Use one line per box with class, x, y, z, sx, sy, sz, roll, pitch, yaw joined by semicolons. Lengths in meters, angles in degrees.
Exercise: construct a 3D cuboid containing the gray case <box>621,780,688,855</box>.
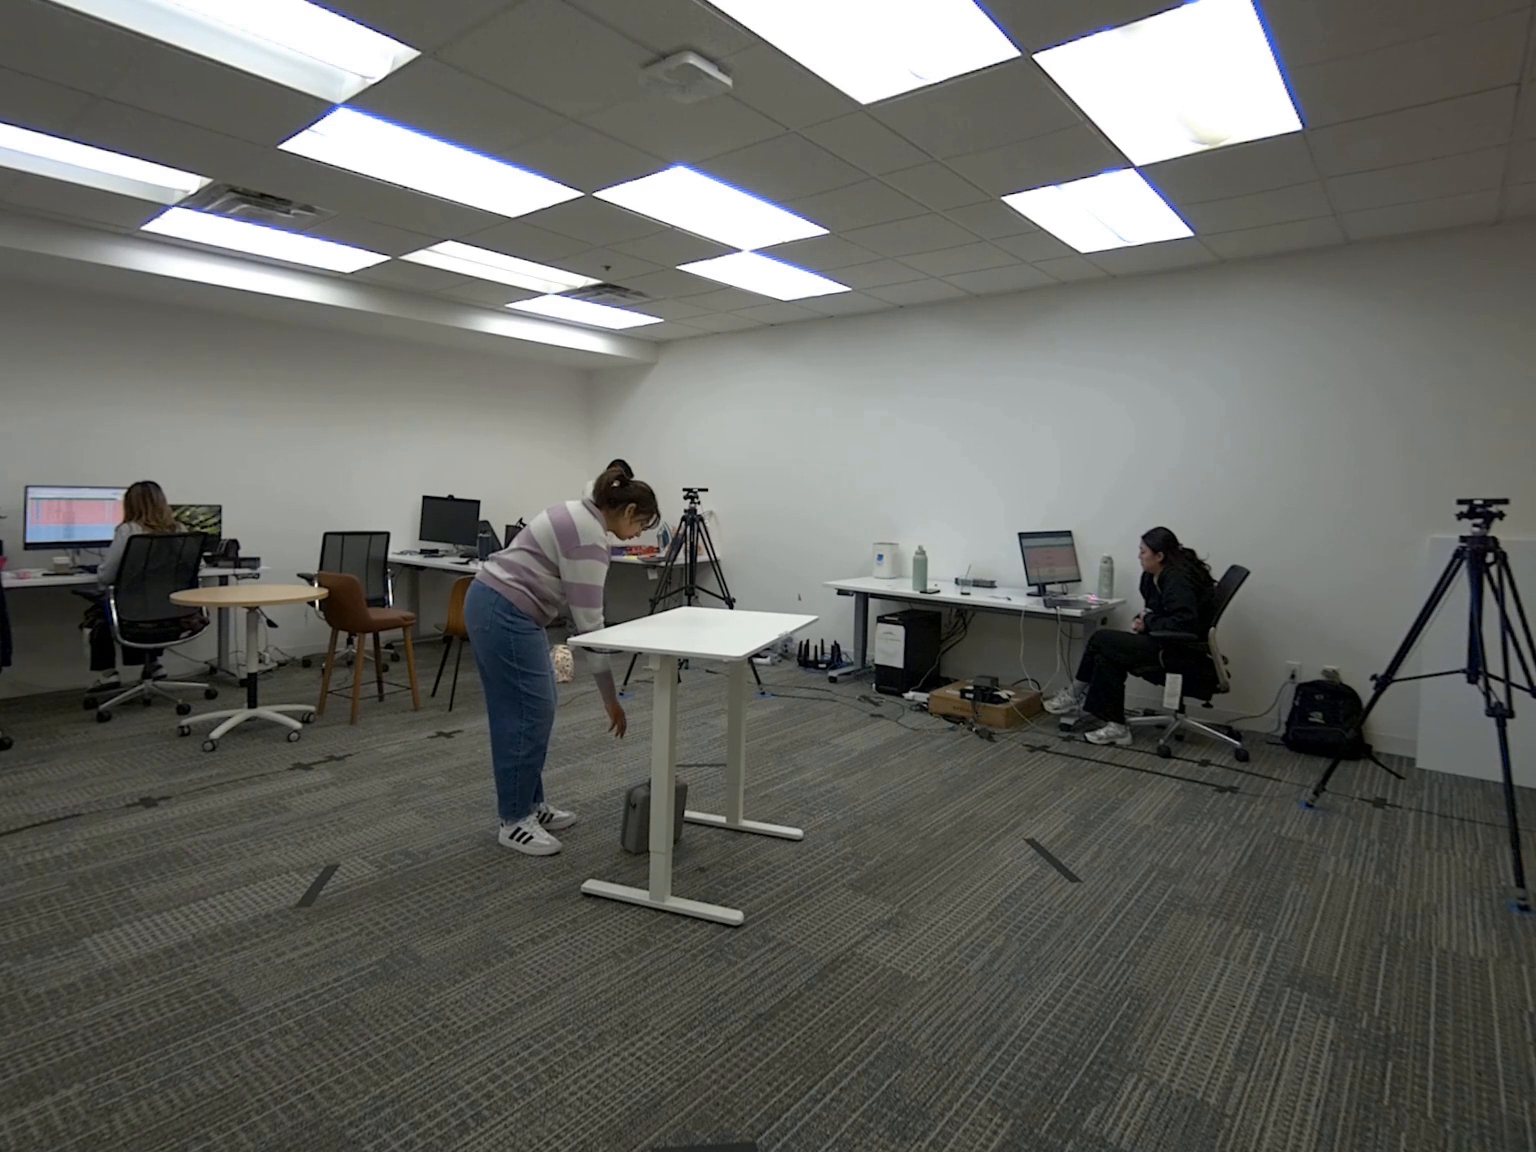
gray case;-0.449;0.918;3.308;0.249;0.259;0.108;-2;12;-44
